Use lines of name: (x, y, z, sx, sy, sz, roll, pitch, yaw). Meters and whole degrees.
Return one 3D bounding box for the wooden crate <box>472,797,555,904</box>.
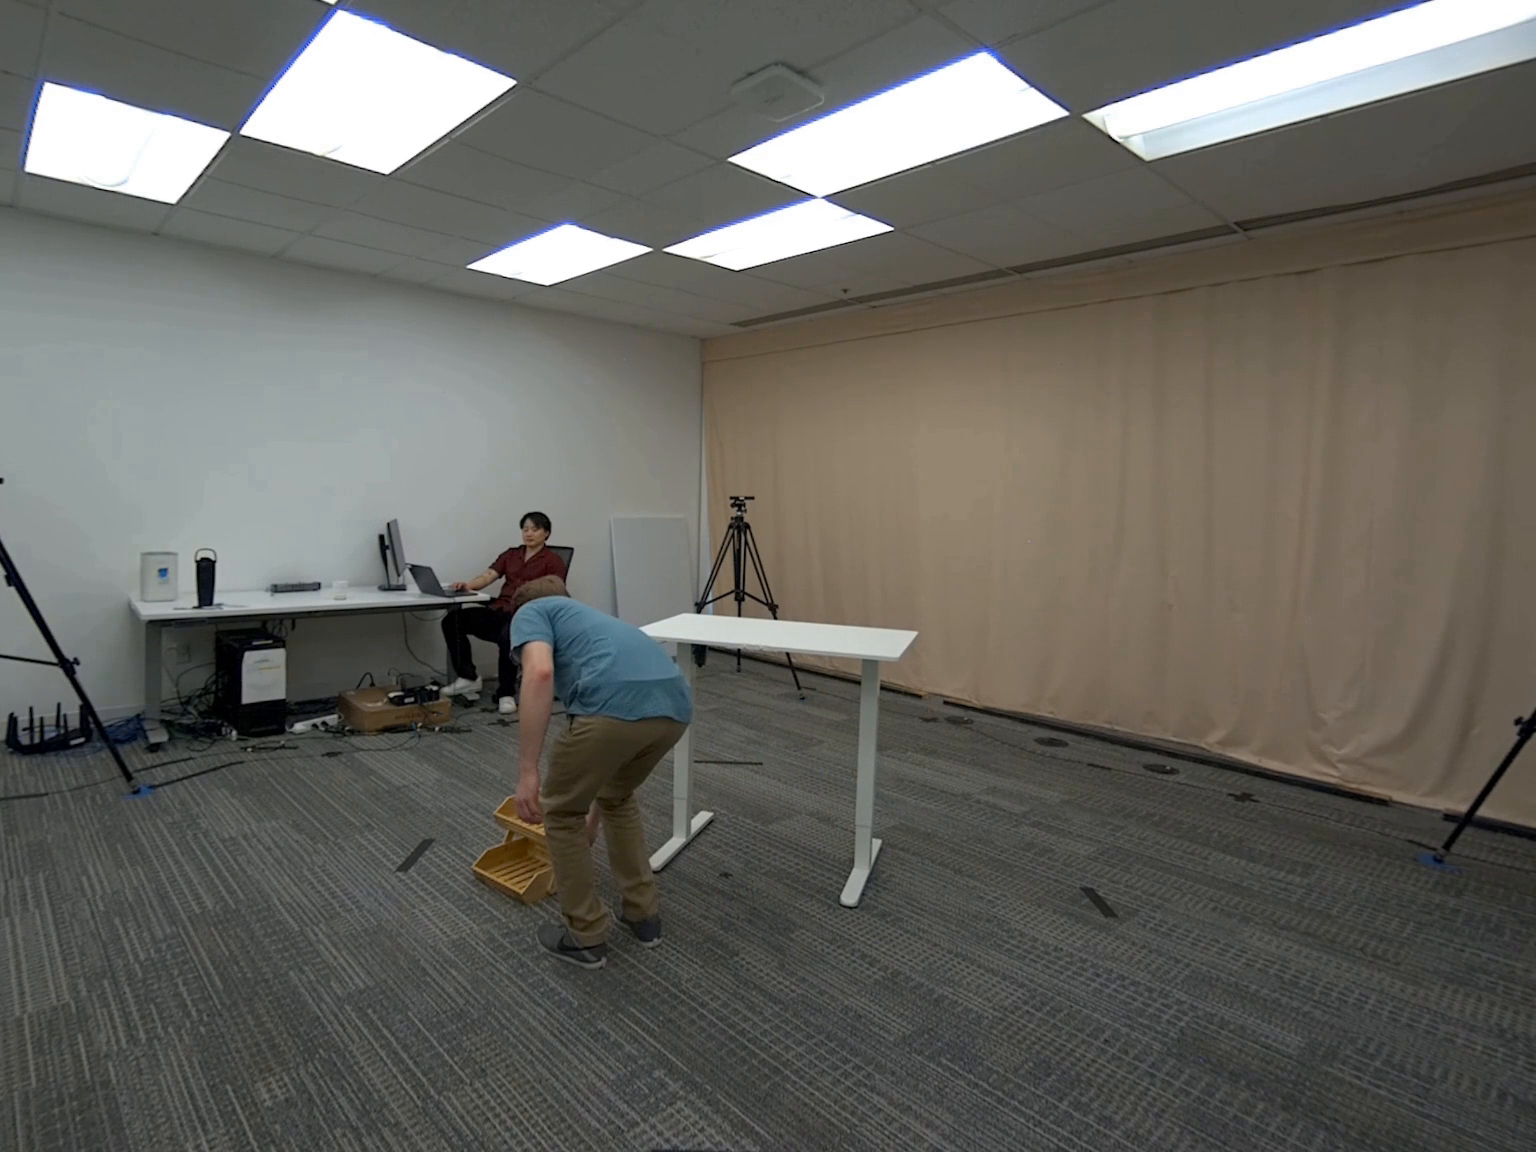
wooden crate: (-0.862, 0.964, 3.028, 0.332, 0.273, 0.295, 5, 5, 38)
